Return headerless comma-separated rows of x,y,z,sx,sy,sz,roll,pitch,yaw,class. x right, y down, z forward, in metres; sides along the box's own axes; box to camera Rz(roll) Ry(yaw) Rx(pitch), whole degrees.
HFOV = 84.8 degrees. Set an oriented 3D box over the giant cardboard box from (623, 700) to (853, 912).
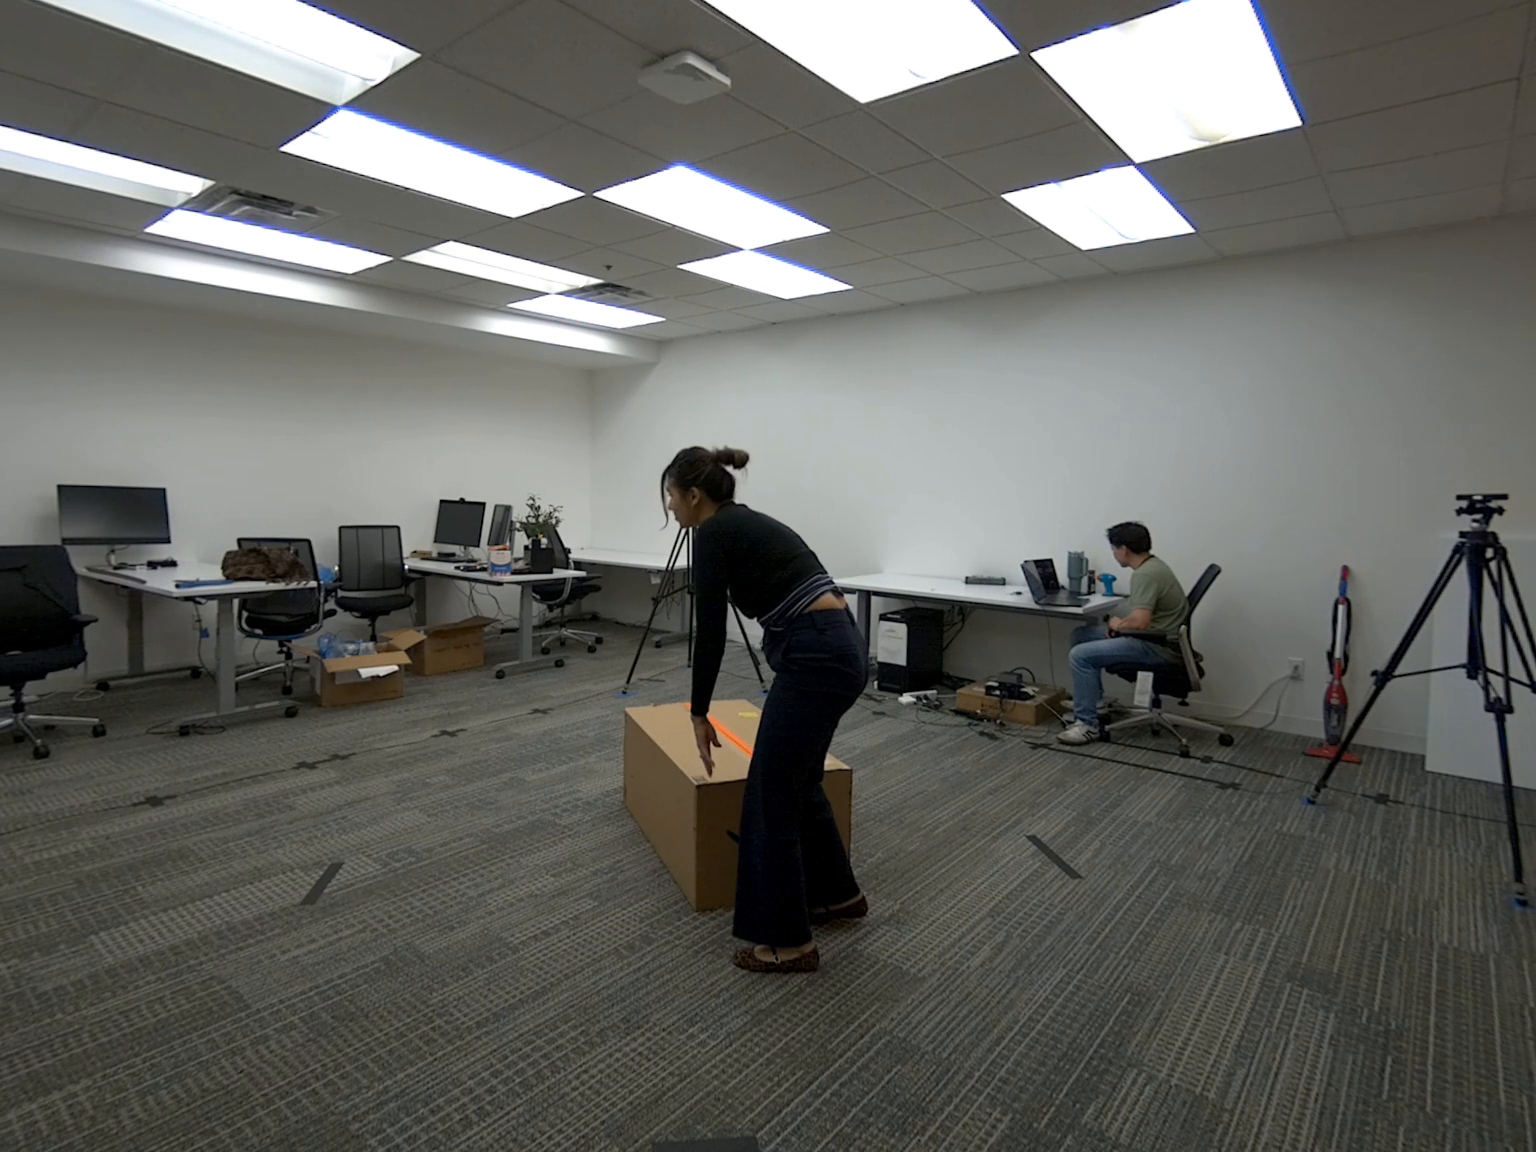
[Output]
-0.183,0.824,3.337,0.565,0.425,1.052,0,5,-22,giant cardboard box
